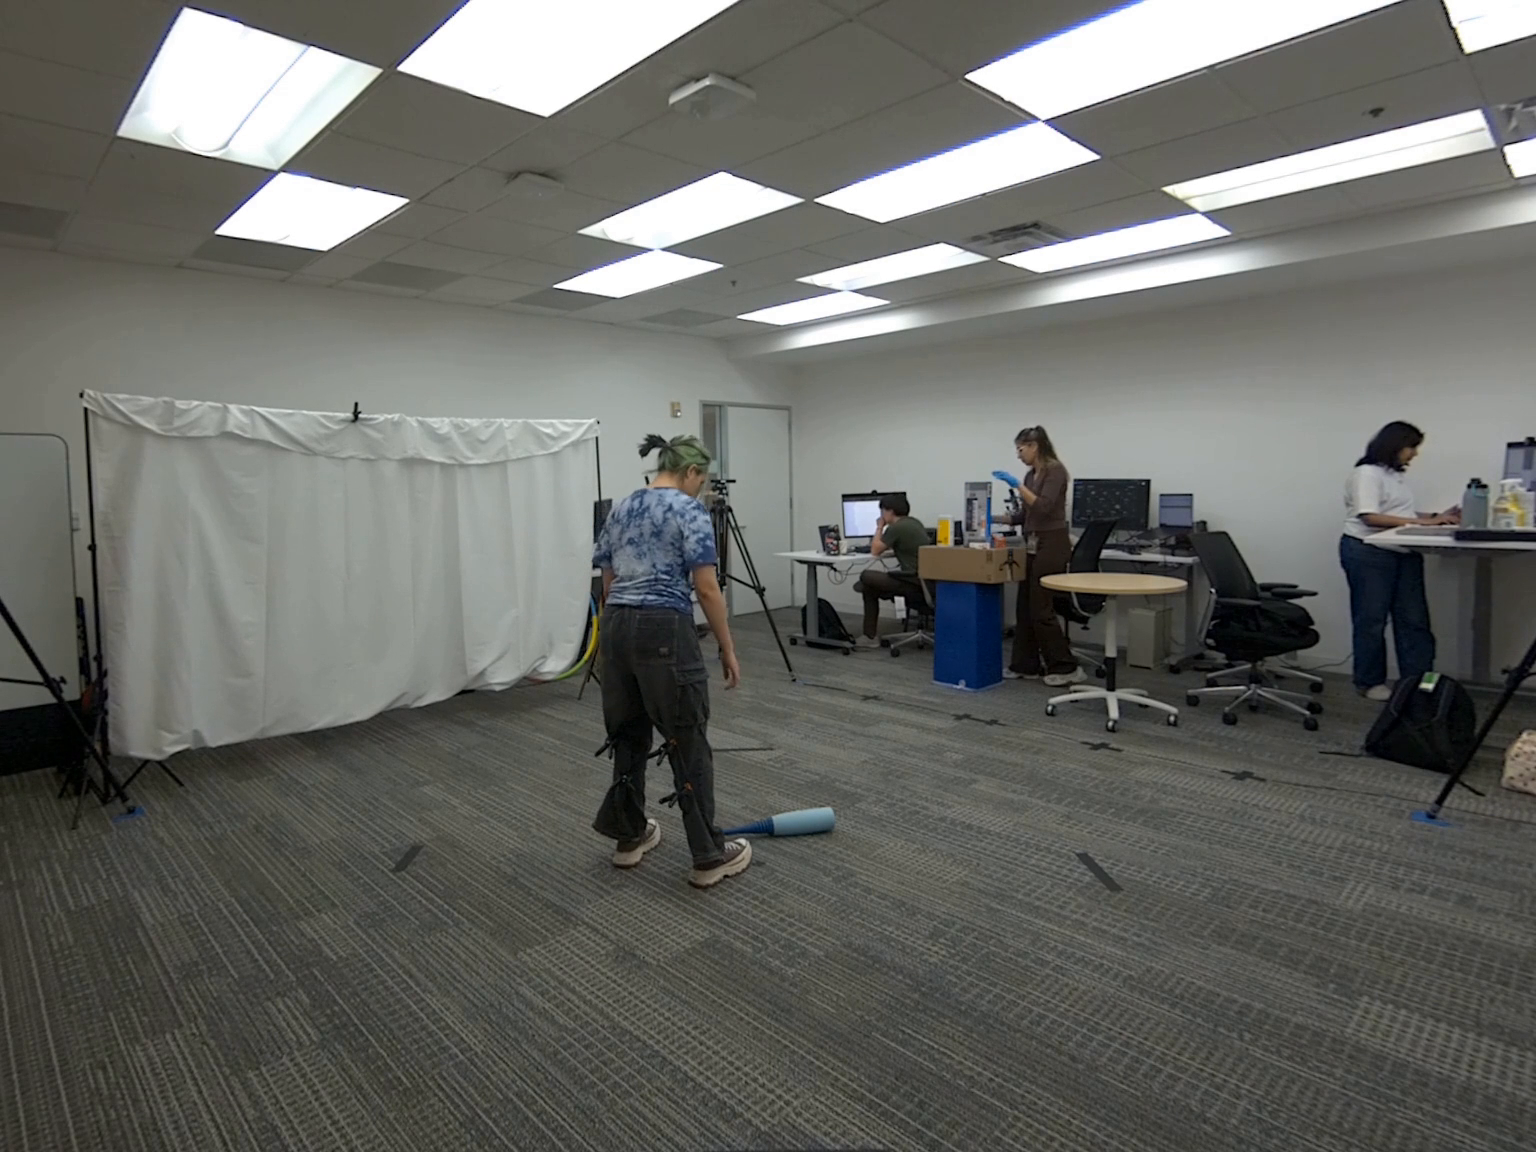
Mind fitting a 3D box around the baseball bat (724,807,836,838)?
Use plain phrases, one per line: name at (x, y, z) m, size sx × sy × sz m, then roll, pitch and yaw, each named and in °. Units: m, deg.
baseball bat at (-0.004, 0.985, 3.348) m, size 0.539 × 0.088 × 0.090 m, roll -5°, pitch 5°, yaw -8°
